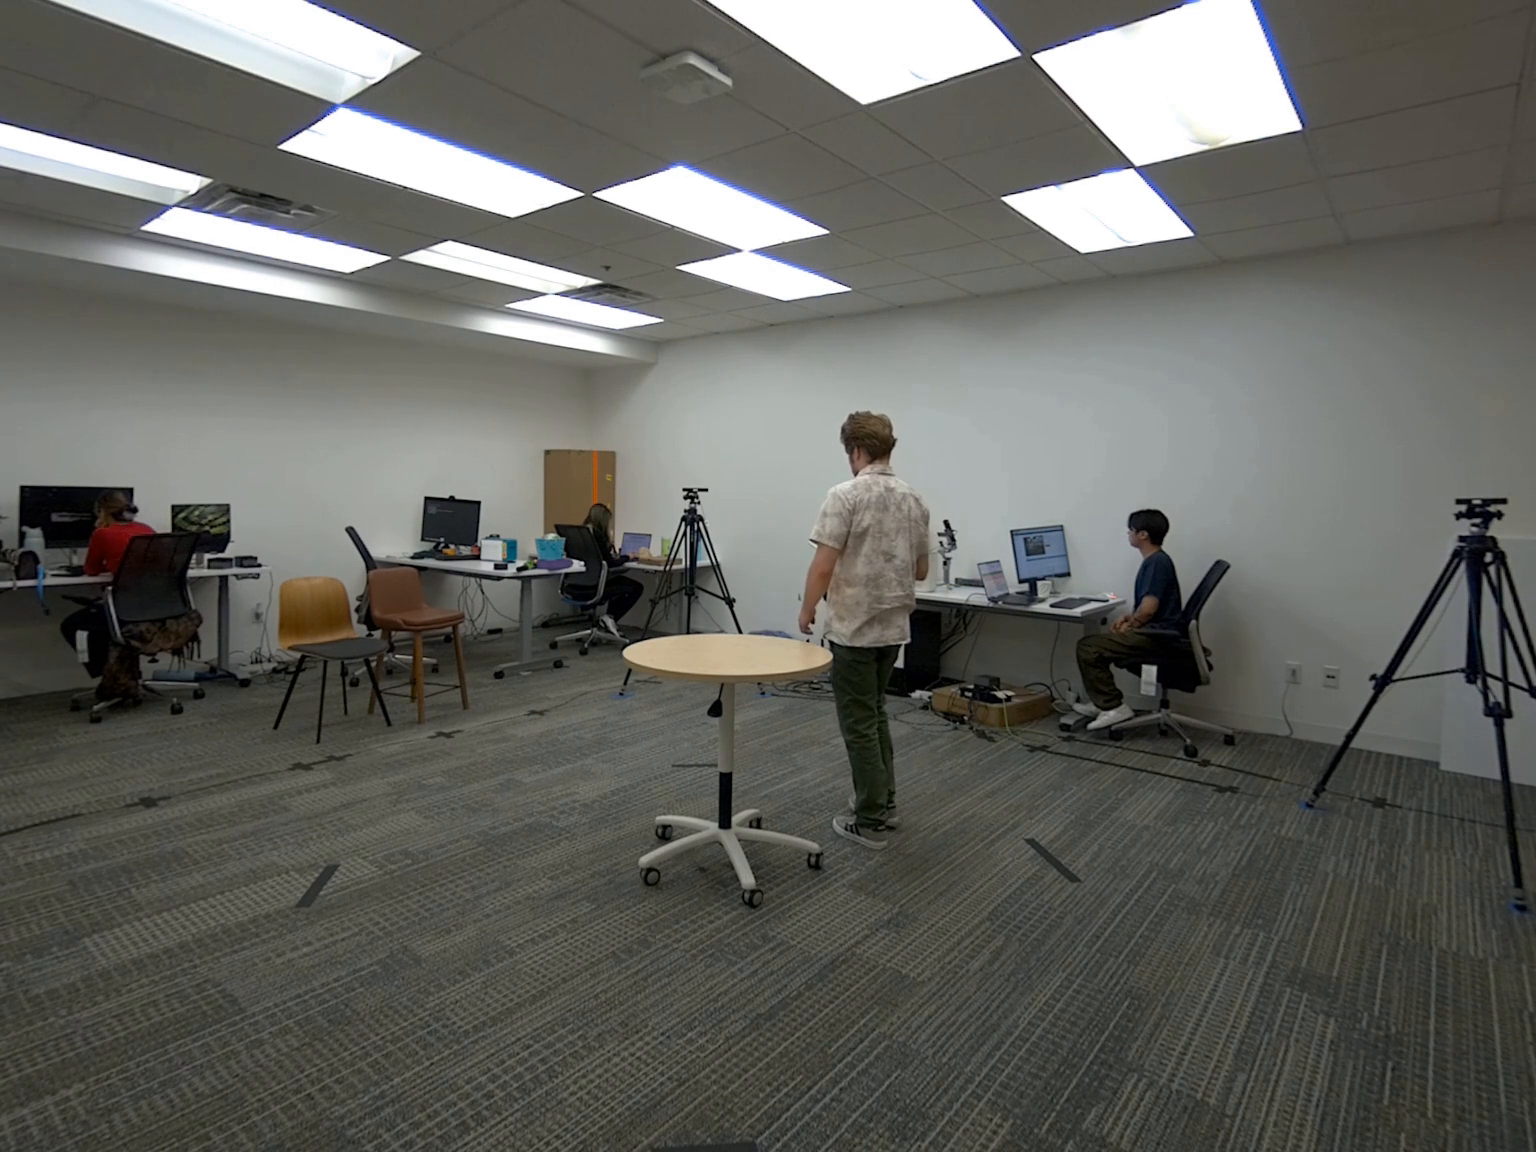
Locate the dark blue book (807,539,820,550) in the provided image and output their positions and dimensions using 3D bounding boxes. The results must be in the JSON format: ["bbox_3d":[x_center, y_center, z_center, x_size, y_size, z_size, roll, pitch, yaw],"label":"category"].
[{"bbox_3d":[0.268,-0.116,3.720,0.161,0.045,0.249,24,7,-12],"label":"dark blue book"}]
